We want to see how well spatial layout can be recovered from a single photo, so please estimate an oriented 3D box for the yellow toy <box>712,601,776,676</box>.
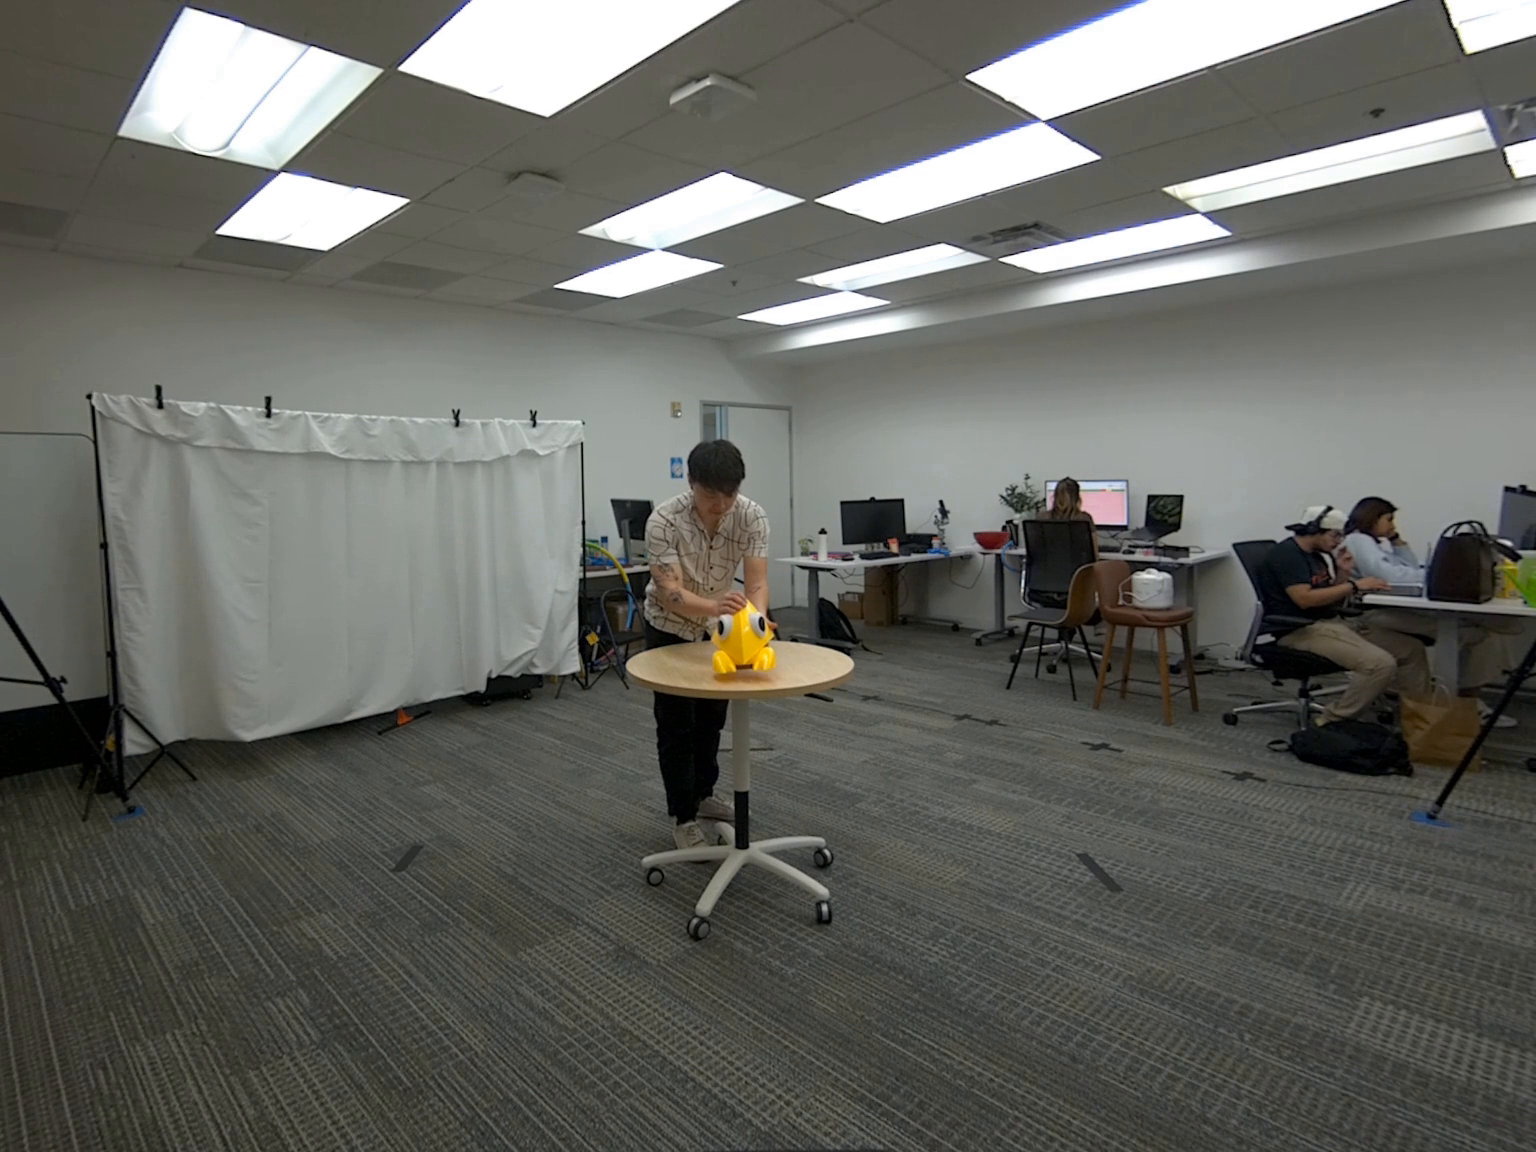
[{"bbox_3d":[-0.082,0.173,2.667,0.205,0.230,0.193,-3,1,1],"label":"yellow toy"}]
